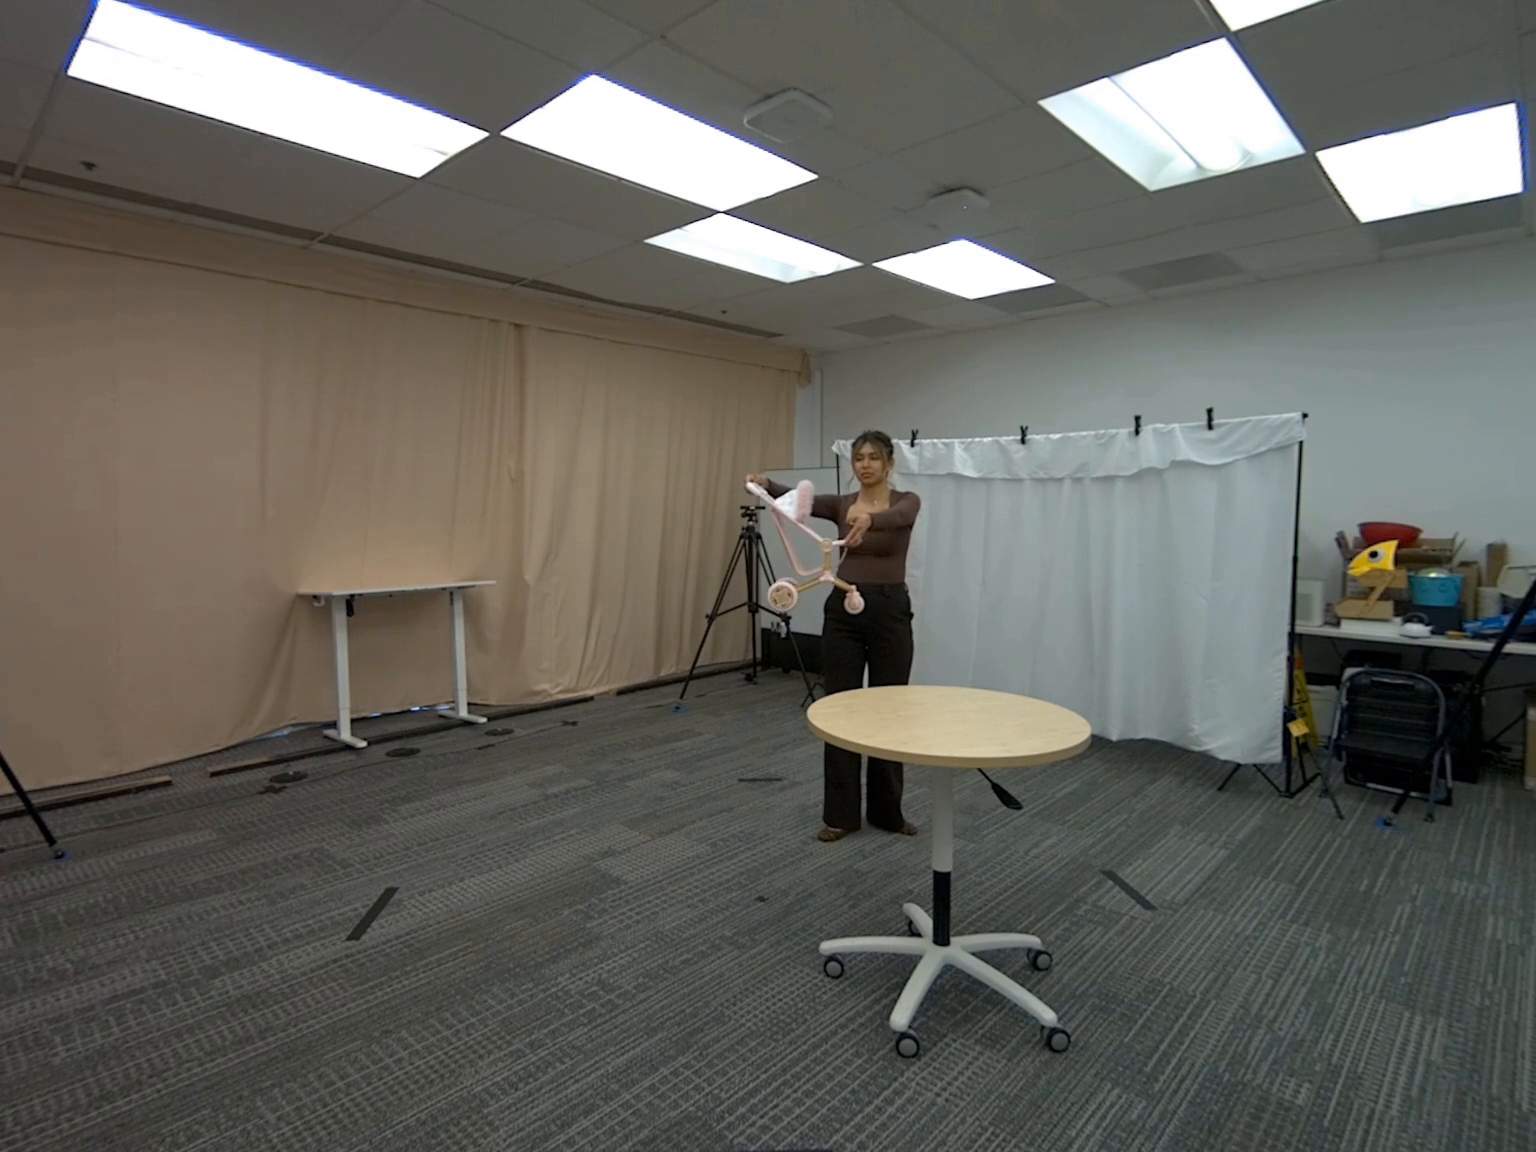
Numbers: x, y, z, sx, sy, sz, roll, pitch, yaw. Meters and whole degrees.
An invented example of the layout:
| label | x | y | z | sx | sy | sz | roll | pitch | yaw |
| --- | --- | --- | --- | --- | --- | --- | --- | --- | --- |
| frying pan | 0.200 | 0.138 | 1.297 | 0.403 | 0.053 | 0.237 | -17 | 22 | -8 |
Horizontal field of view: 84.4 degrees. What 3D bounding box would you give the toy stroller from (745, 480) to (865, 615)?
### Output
| label | x | y | z | sx | sy | sz | roll | pitch | yaw |
| --- | --- | --- | --- | --- | --- | --- | --- | --- | --- |
| toy stroller | 0.143 | -0.102 | 3.055 | 0.345 | 0.535 | 0.278 | -11 | -1 | 12 |
